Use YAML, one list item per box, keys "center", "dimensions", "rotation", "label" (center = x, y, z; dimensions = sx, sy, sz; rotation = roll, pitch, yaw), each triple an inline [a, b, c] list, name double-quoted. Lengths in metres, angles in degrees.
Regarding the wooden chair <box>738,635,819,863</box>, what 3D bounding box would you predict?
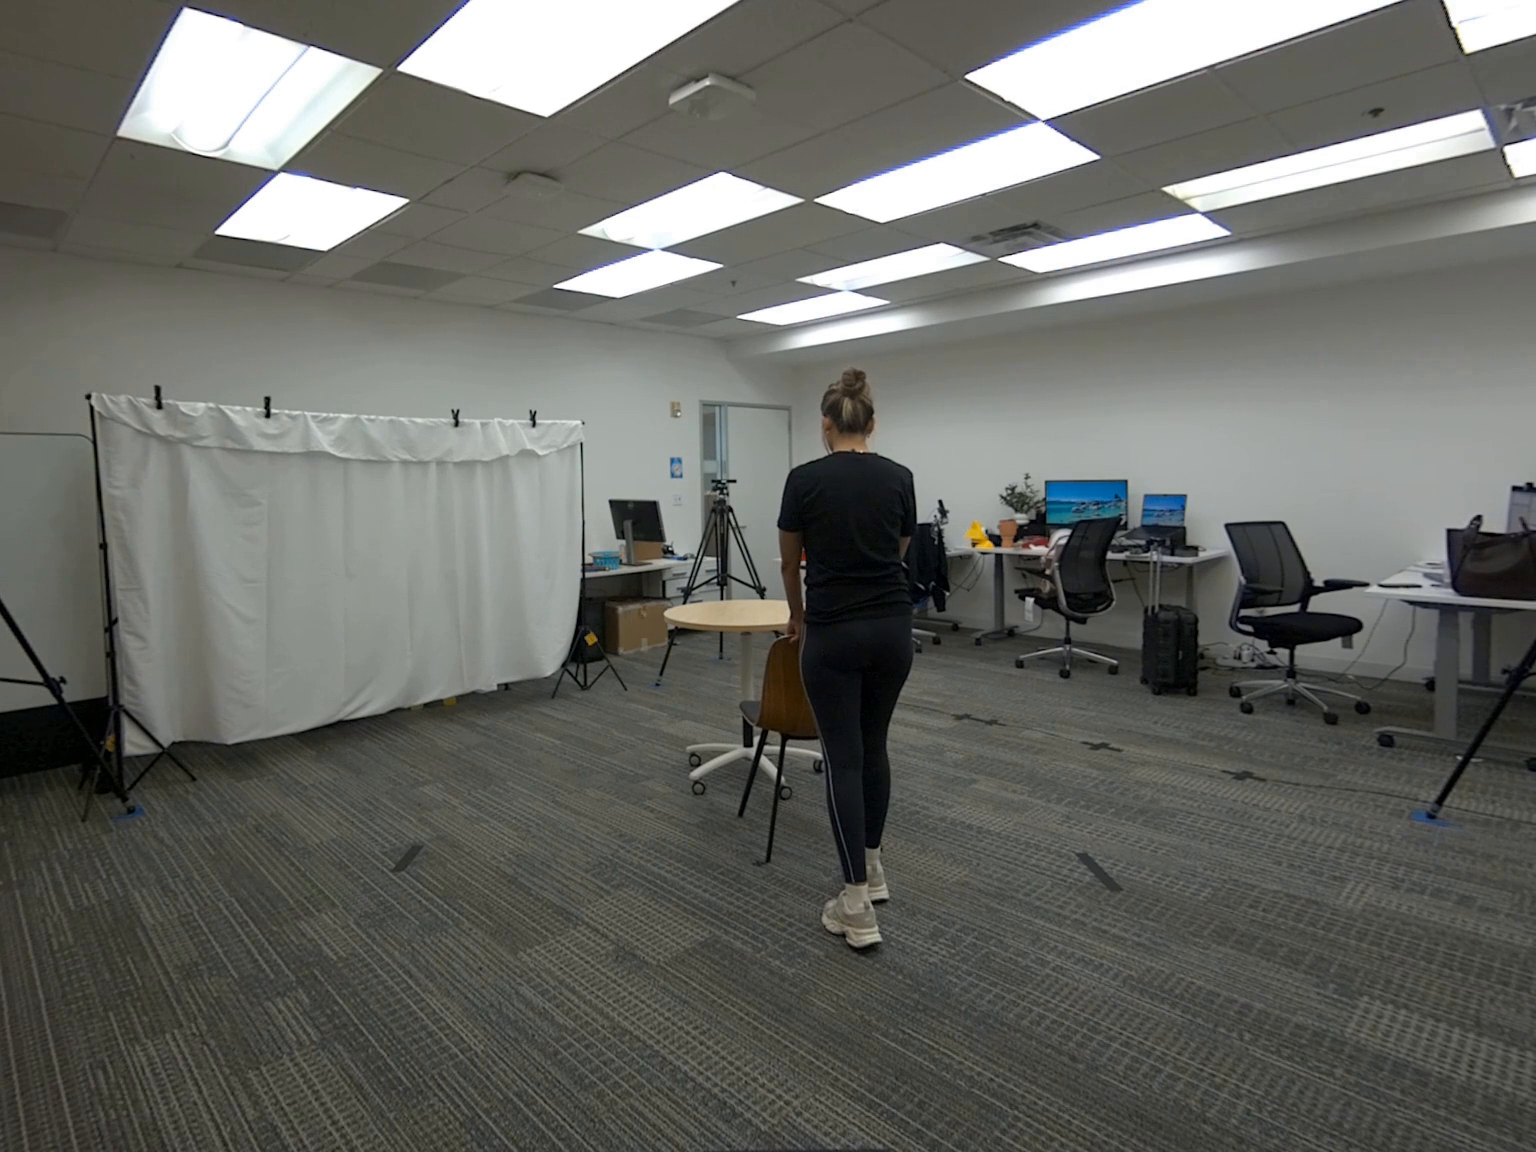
- center: [0.134, 0.595, 3.351]
  dimensions: [0.472, 0.871, 0.533]
  rotation: [-2, 9, -13]
  label: "wooden chair"
